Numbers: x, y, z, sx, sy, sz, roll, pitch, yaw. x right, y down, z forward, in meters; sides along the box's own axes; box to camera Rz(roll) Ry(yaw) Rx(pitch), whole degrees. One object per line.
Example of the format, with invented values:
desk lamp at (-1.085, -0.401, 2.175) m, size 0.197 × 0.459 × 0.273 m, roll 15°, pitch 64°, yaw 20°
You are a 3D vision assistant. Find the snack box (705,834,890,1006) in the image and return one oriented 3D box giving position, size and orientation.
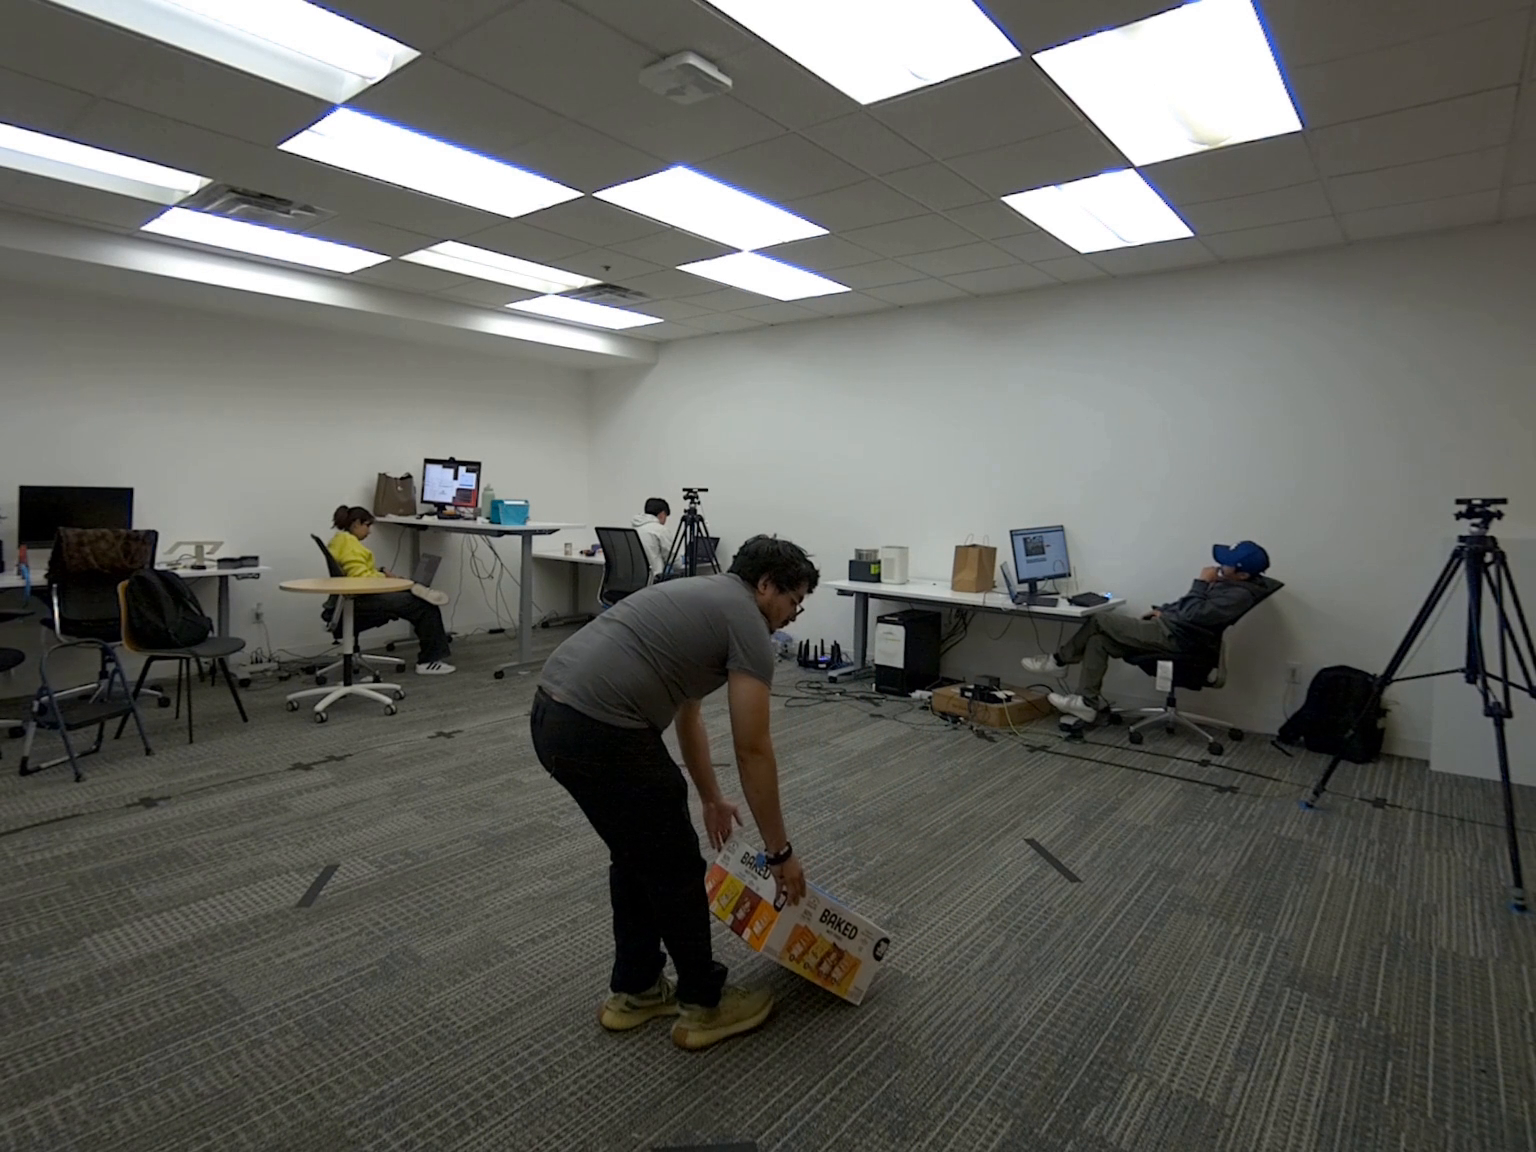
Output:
snack box at (0.062, 0.952, 2.373) m, size 0.391 × 0.206 × 0.351 m, roll 40°, pitch -16°, yaw -28°
